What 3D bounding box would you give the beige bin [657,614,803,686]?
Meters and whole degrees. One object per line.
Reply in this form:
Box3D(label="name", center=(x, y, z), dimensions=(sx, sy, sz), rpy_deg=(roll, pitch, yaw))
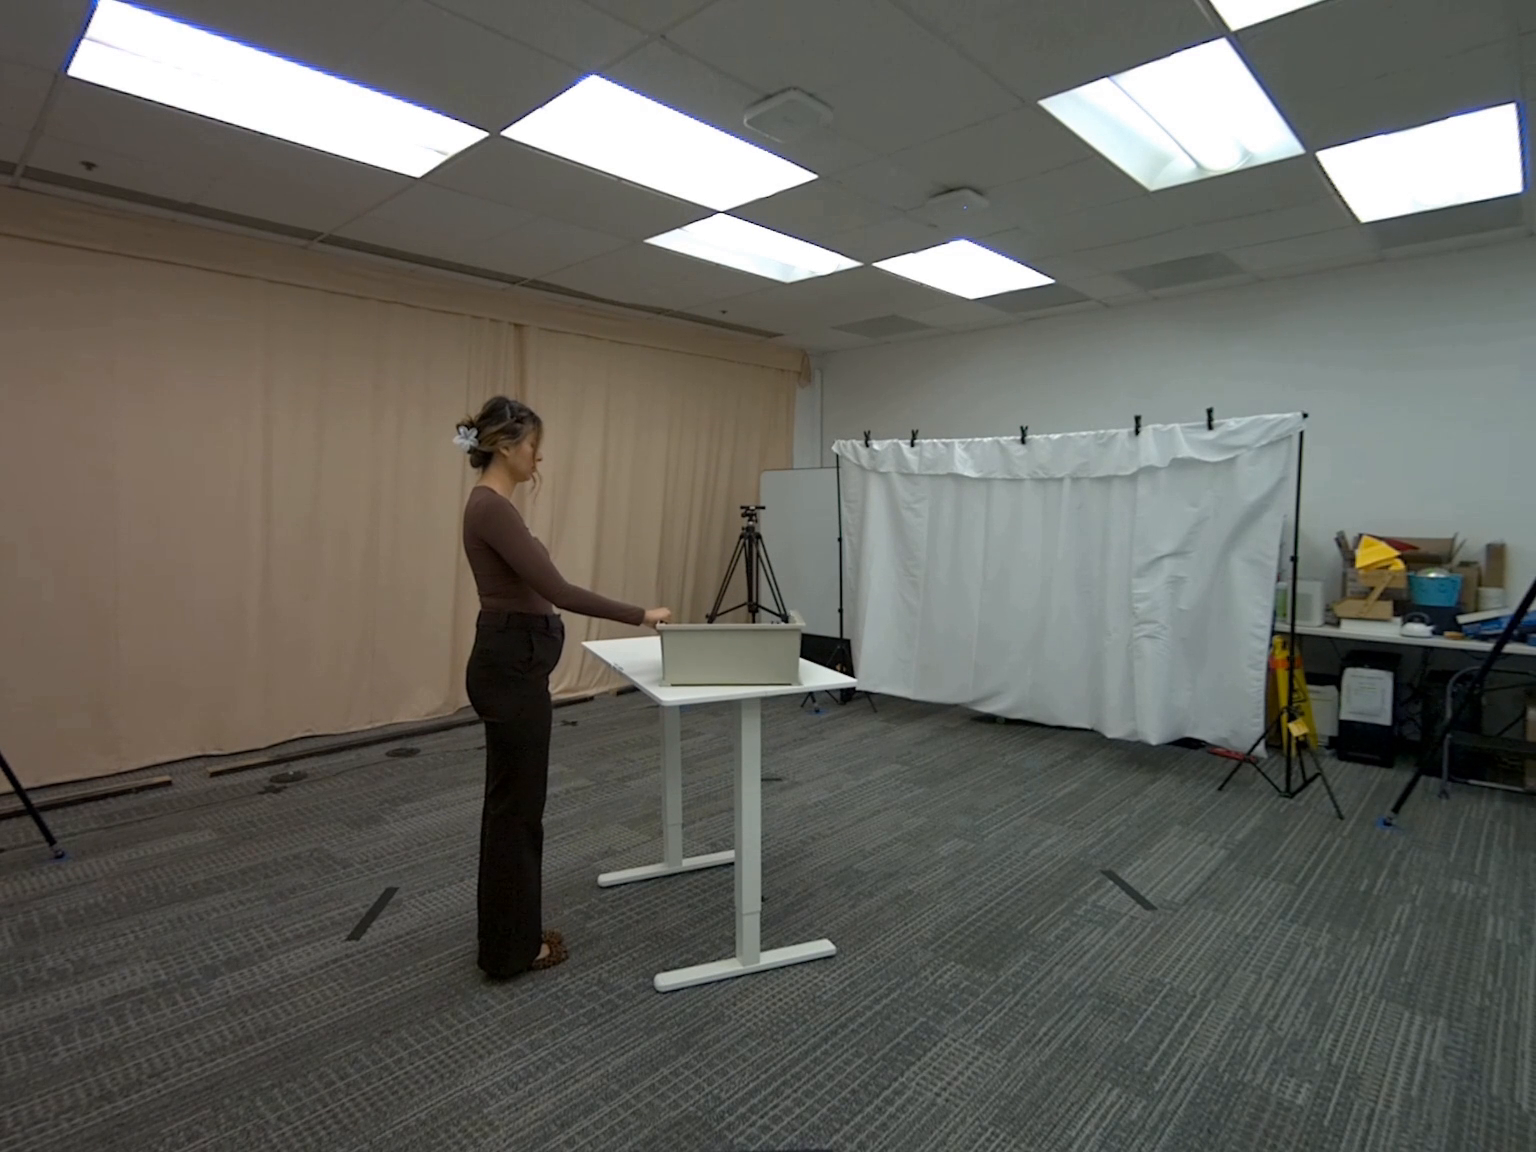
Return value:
Box3D(label="beige bin", center=(-0.117, 0.217, 2.574), dimensions=(0.421, 0.188, 0.379), rpy_deg=(0, 5, -3))
